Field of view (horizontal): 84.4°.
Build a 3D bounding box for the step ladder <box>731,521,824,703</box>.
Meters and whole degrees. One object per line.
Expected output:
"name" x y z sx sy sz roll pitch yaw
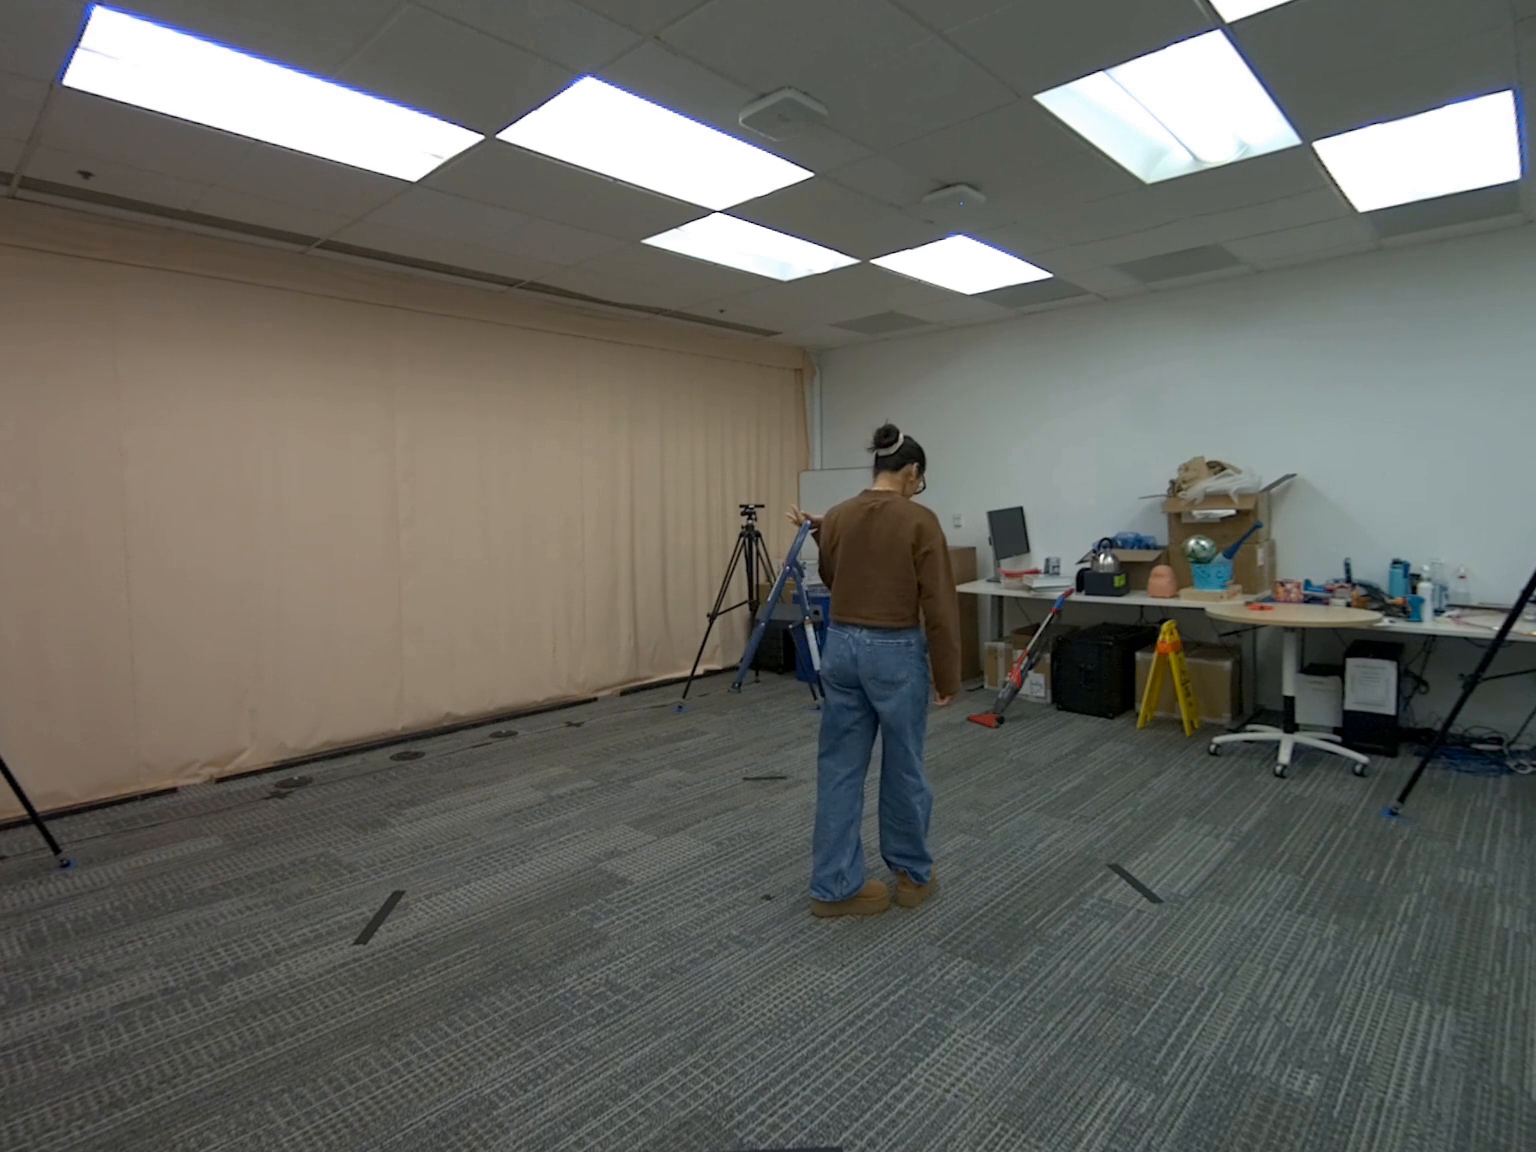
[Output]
"step ladder" 0.054 0.089 3.103 0.351 0.604 0.430 2 5 2
